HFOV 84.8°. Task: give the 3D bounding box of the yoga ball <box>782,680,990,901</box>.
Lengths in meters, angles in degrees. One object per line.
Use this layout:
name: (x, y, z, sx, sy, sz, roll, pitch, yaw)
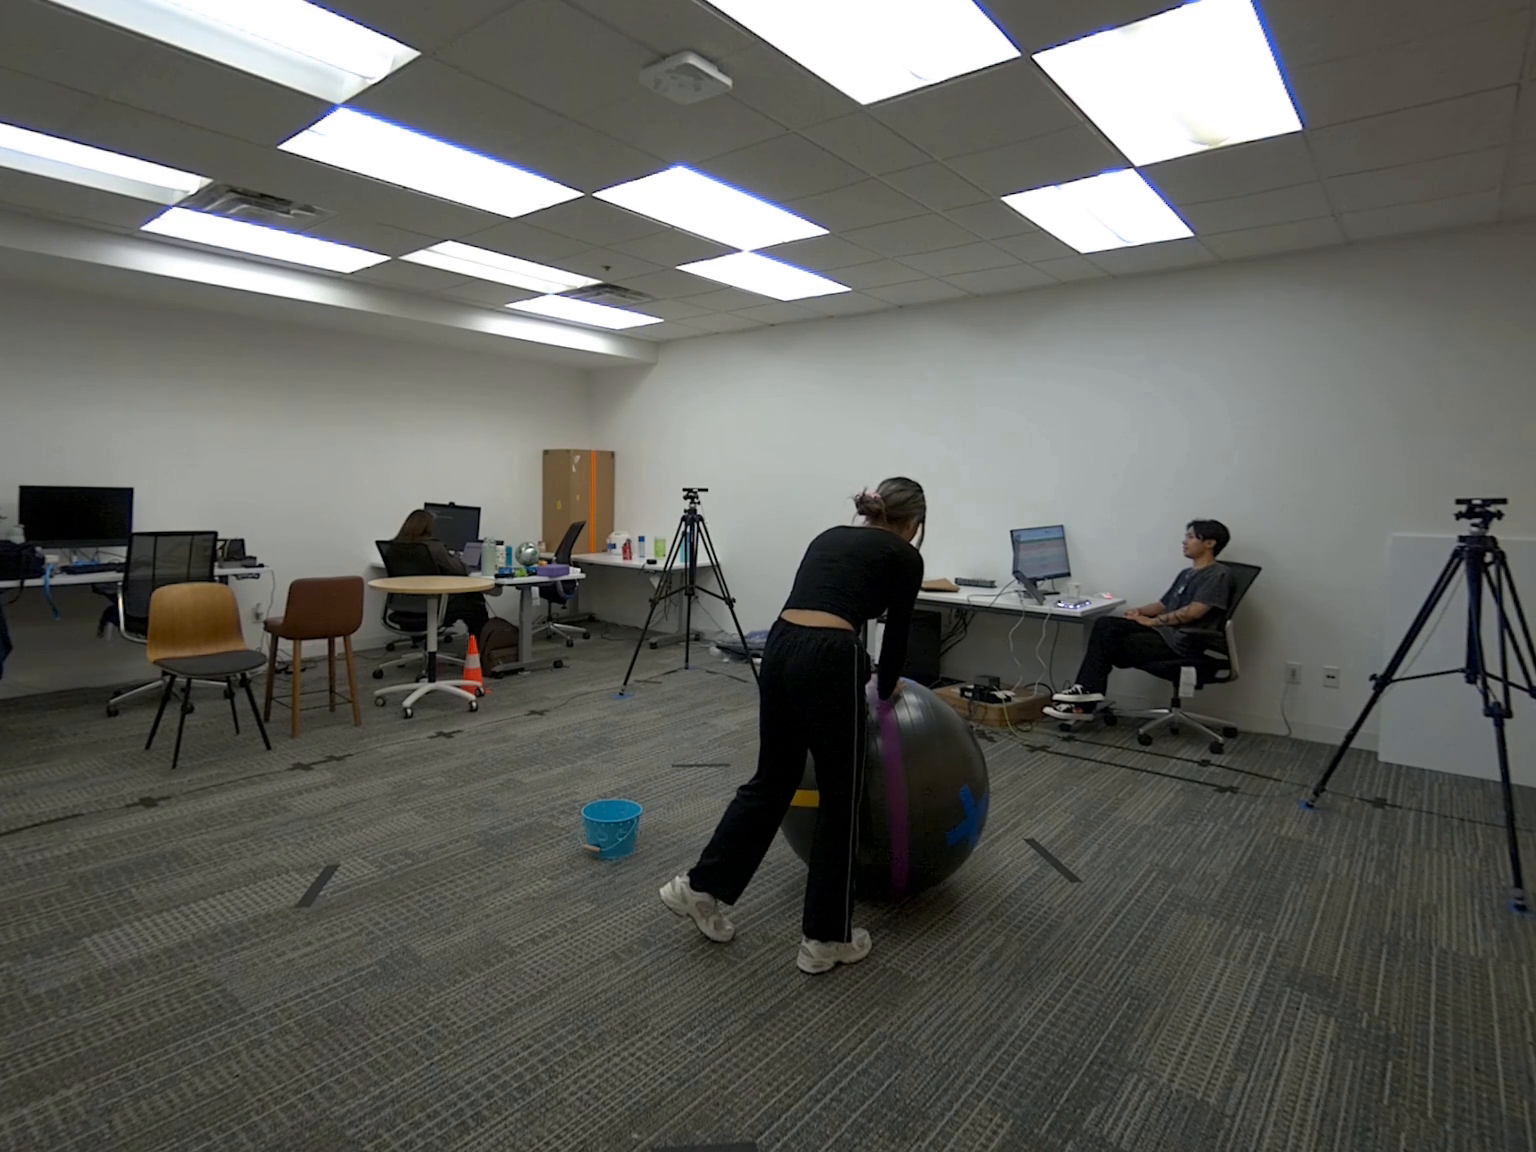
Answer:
yoga ball: (0.386, 0.730, 3.014, 0.757, 0.755, 0.762, 1, 4, -2)
